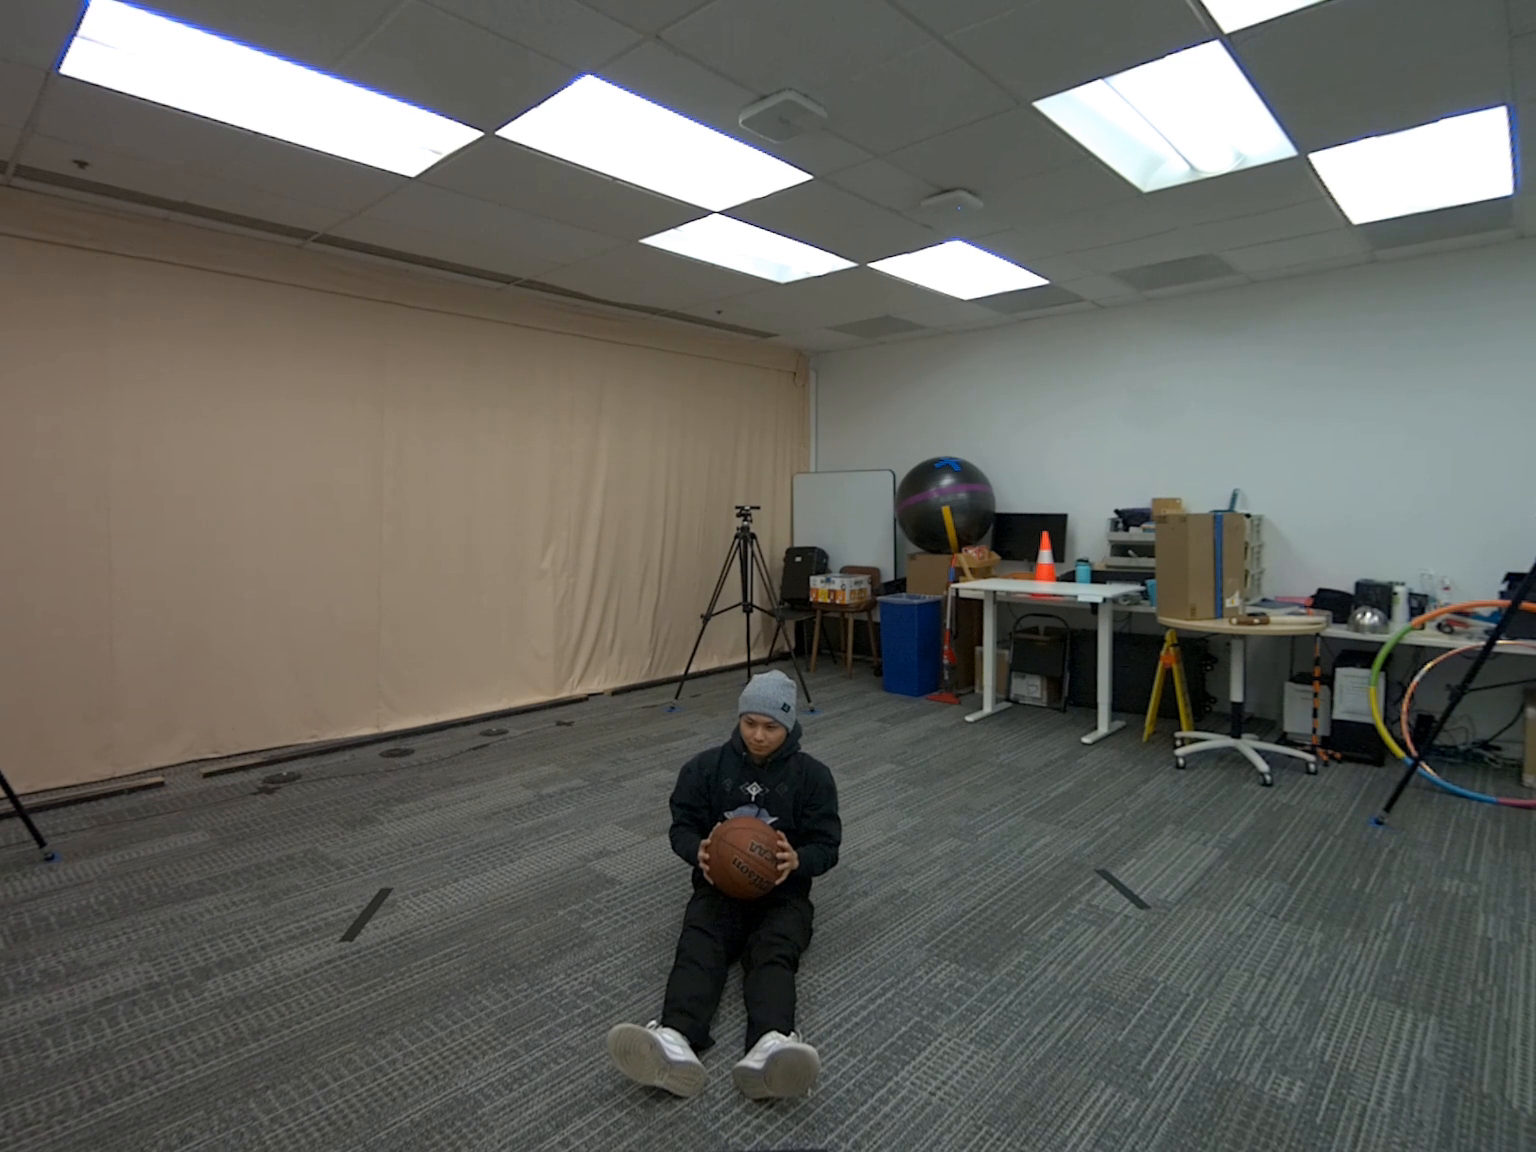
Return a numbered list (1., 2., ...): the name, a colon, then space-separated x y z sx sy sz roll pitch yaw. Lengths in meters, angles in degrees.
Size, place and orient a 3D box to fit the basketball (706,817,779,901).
1. basketball: -0.074 0.842 2.552 0.236 0.235 0.237 0 4 -2
